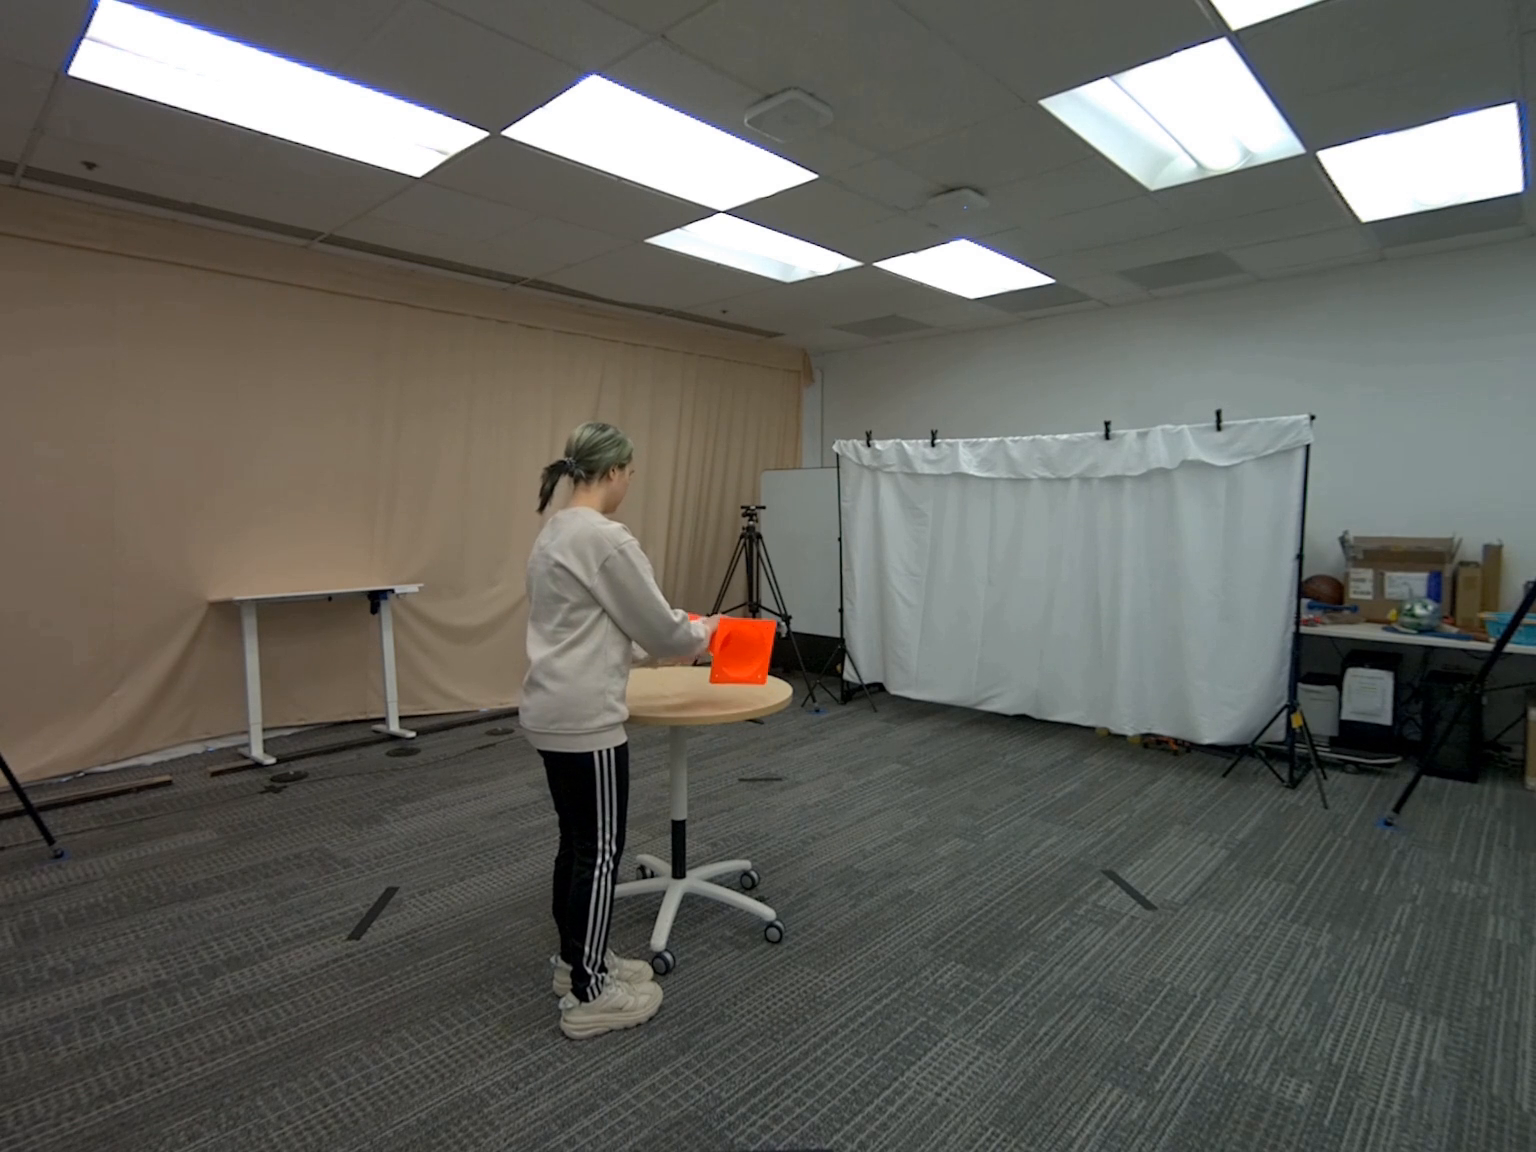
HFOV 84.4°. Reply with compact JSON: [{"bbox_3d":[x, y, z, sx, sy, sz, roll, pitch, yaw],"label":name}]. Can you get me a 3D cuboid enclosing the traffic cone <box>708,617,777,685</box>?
[{"bbox_3d":[-0.171,0.191,2.628,0.197,0.204,0.396,8,7,-32],"label":"traffic cone"}]
